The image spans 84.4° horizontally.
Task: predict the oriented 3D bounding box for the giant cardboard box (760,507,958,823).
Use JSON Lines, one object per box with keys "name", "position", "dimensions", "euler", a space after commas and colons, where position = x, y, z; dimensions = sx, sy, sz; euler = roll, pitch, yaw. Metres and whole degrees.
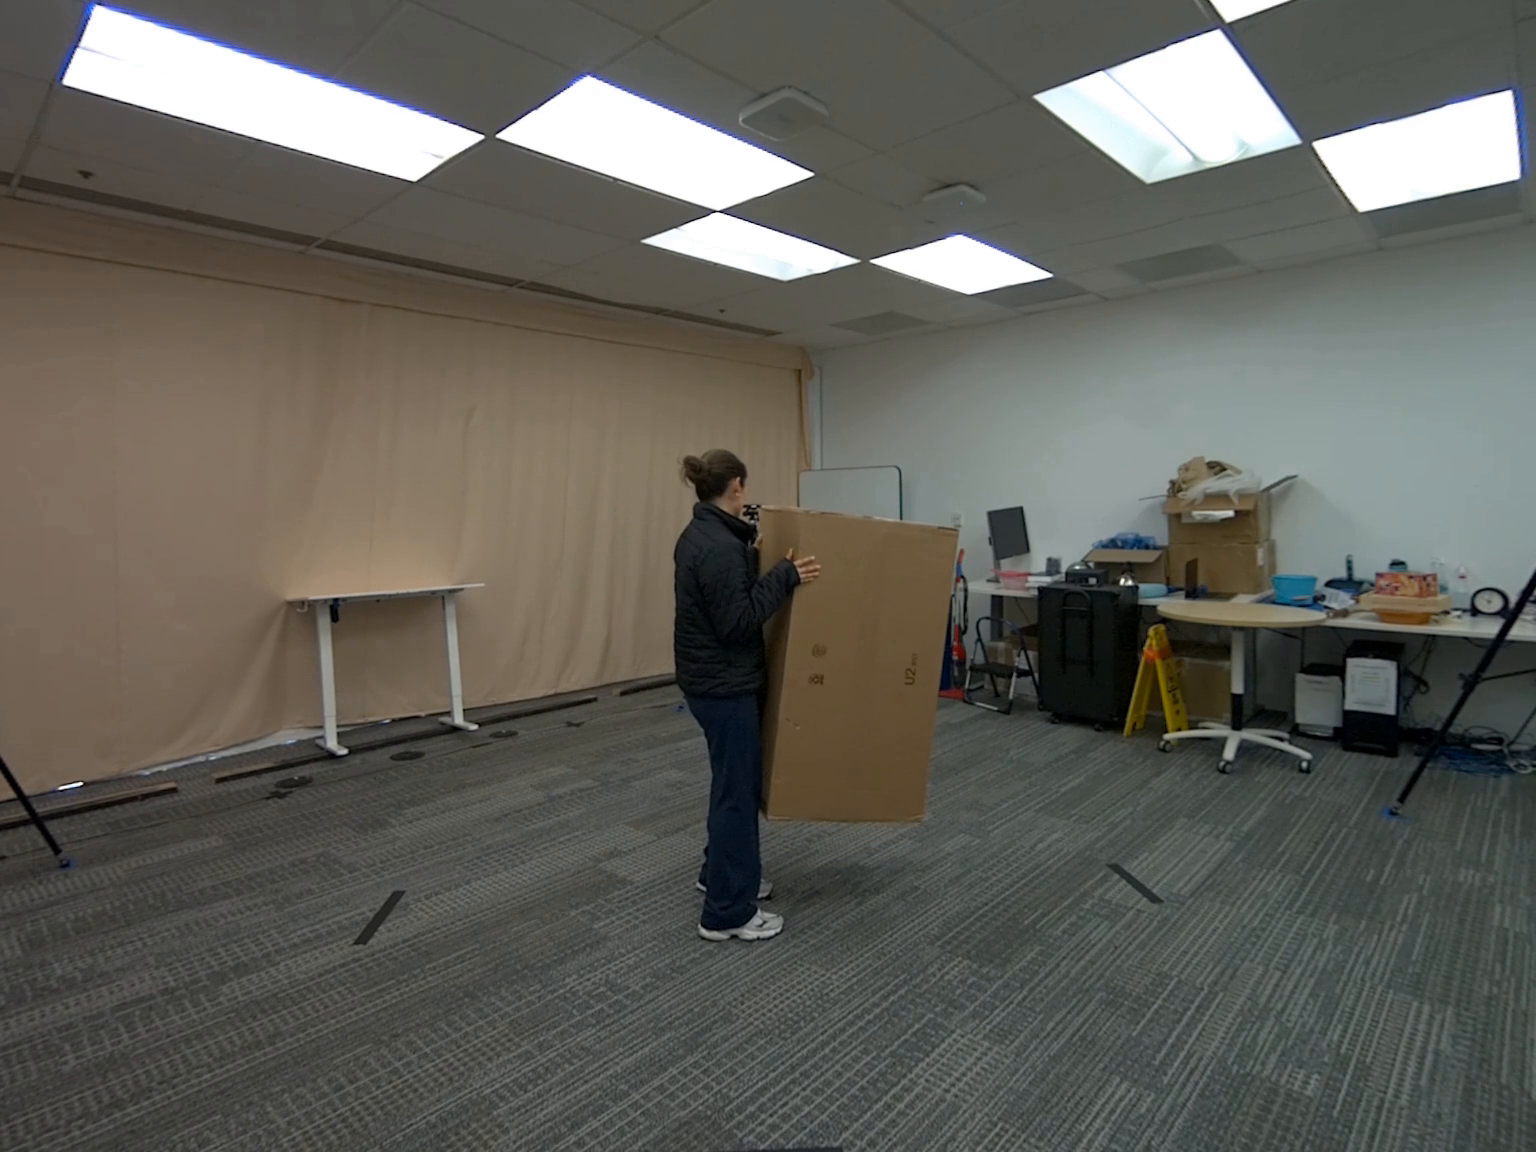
{"name": "giant cardboard box", "position": [0.274, 0.296, 2.993], "dimensions": [0.567, 1.024, 0.434], "euler": [5, 3, -16]}
